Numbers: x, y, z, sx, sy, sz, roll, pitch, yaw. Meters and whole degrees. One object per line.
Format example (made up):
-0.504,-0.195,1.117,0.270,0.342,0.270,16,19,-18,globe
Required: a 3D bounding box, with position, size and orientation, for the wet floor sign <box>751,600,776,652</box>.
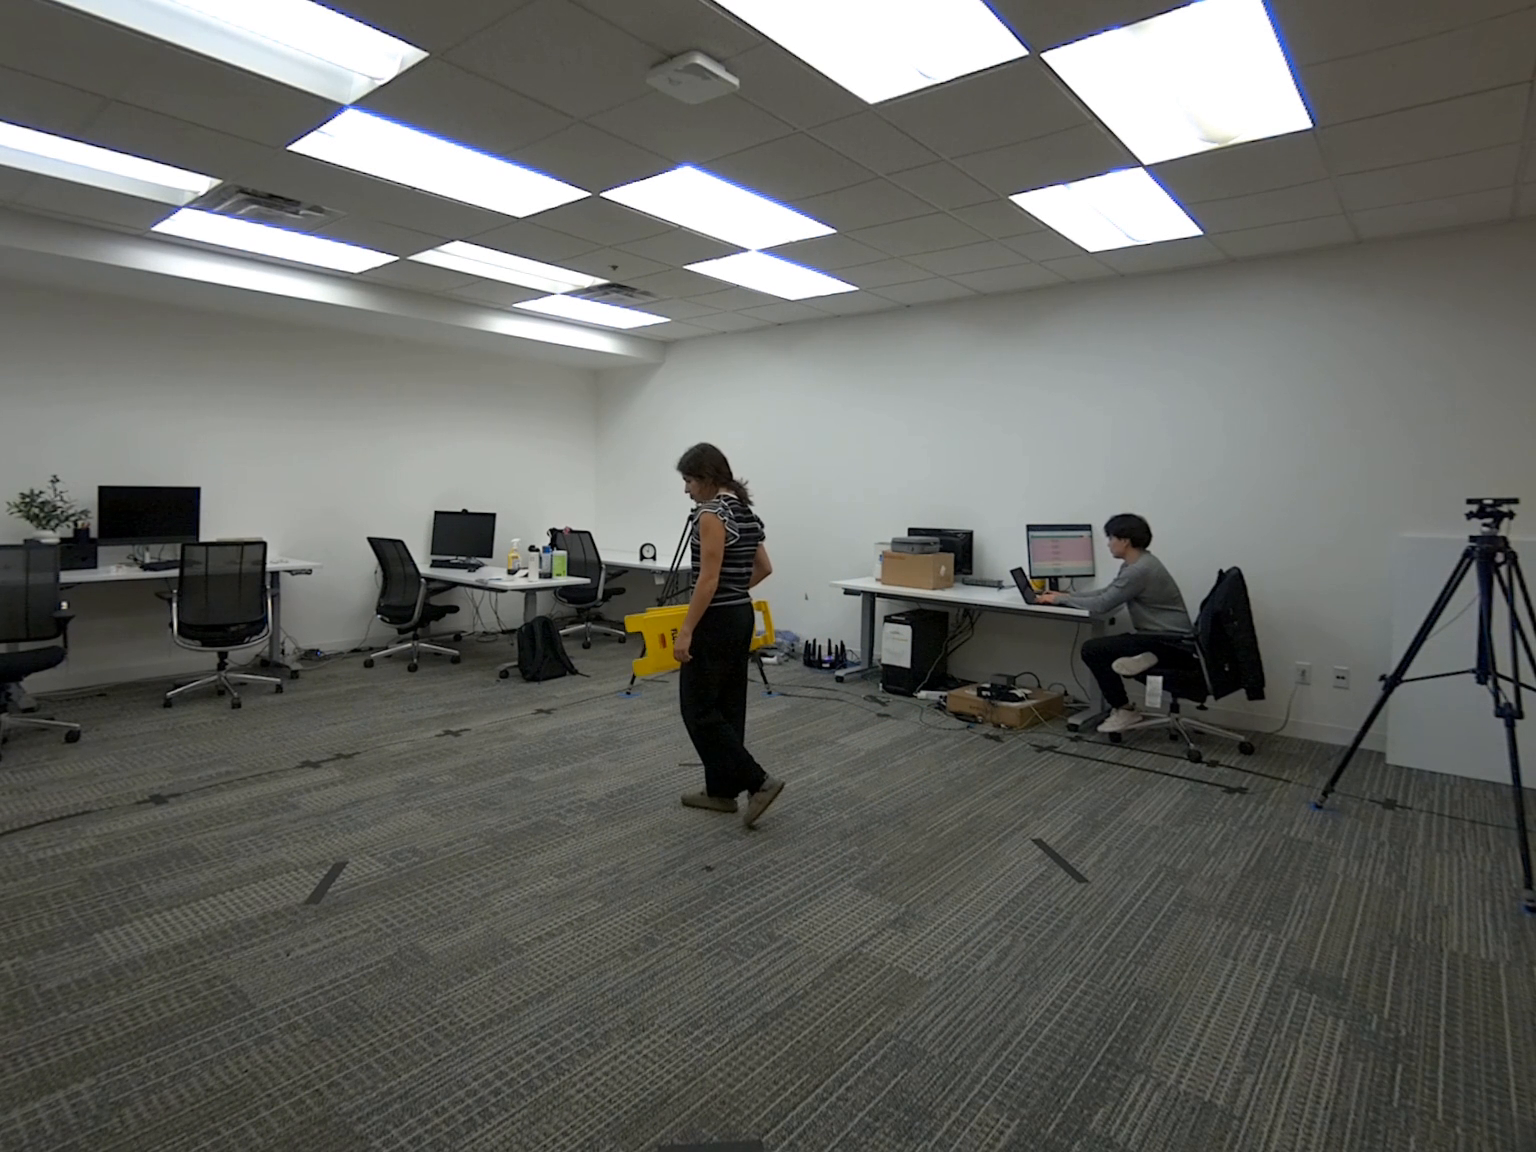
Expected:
-0.308,0.250,3.866,0.656,0.283,0.285,-10,0,17,wet floor sign
